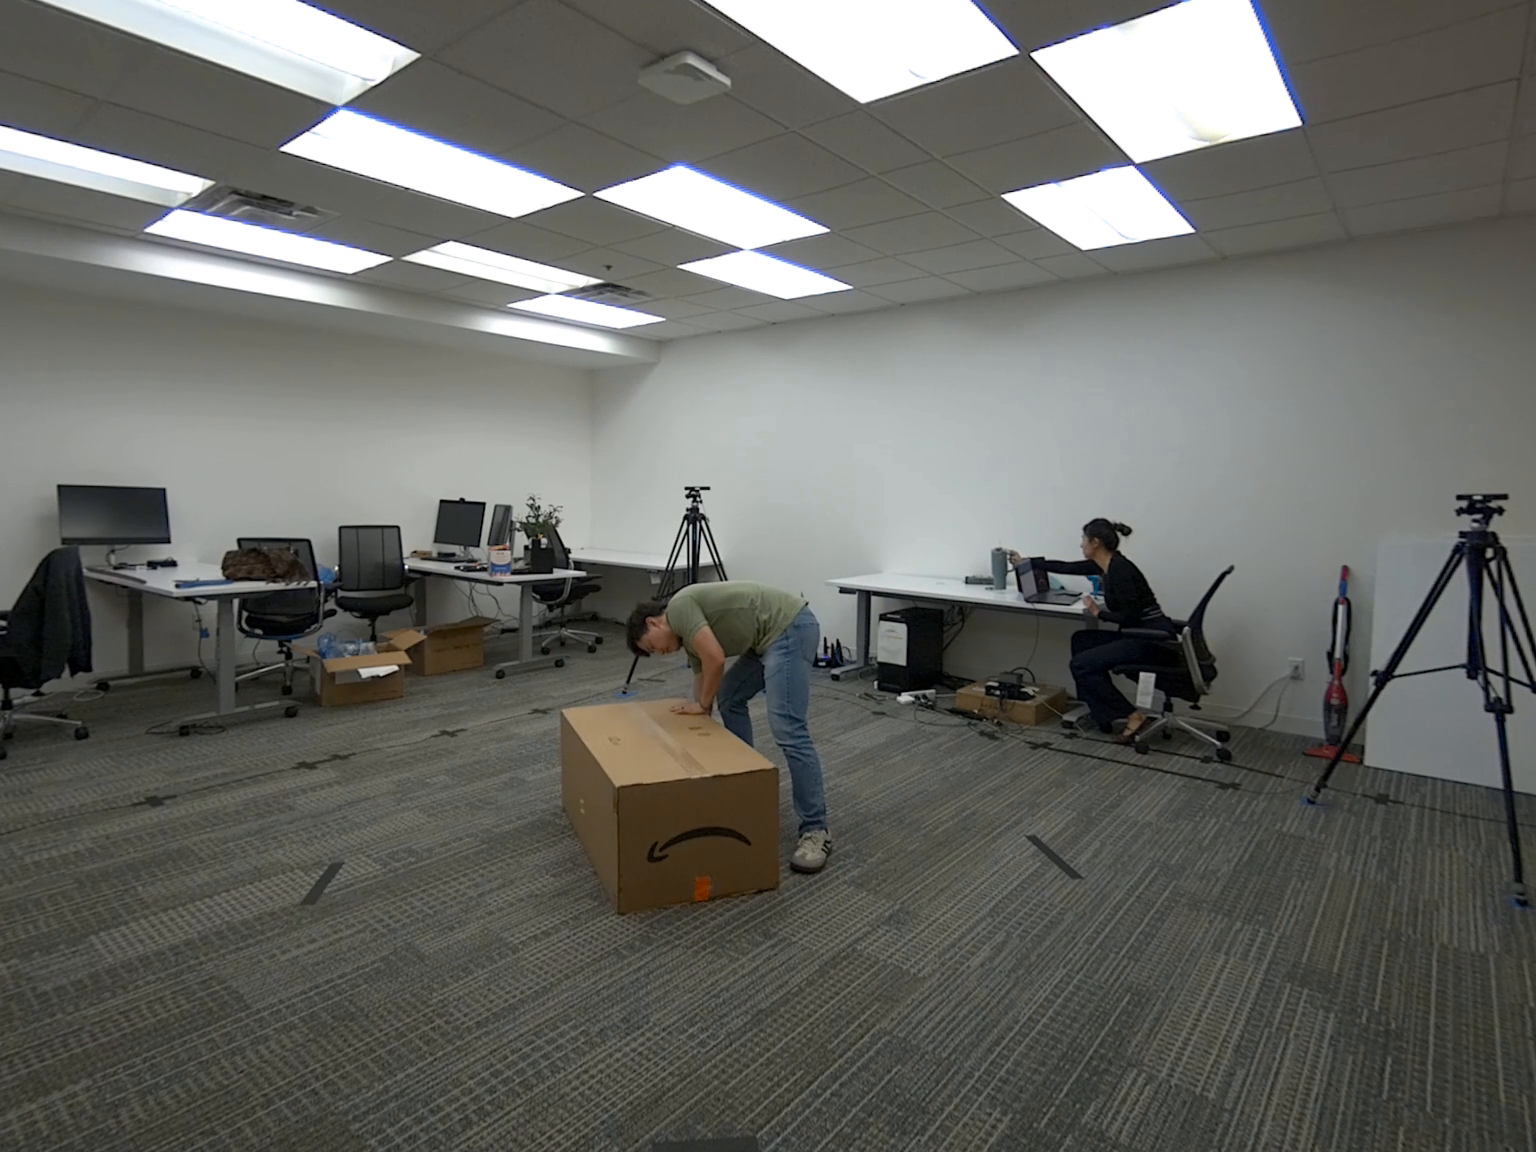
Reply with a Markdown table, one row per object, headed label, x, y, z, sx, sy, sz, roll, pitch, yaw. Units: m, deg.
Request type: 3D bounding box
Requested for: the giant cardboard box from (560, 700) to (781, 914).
| label | x | y | z | sx | sy | sz | roll | pitch | yaw |
| --- | --- | --- | --- | --- | --- | --- | --- | --- | --- |
| giant cardboard box | -0.440 | 0.821 | 3.304 | 0.565 | 0.424 | 1.052 | -2 | 6 | -22 |
